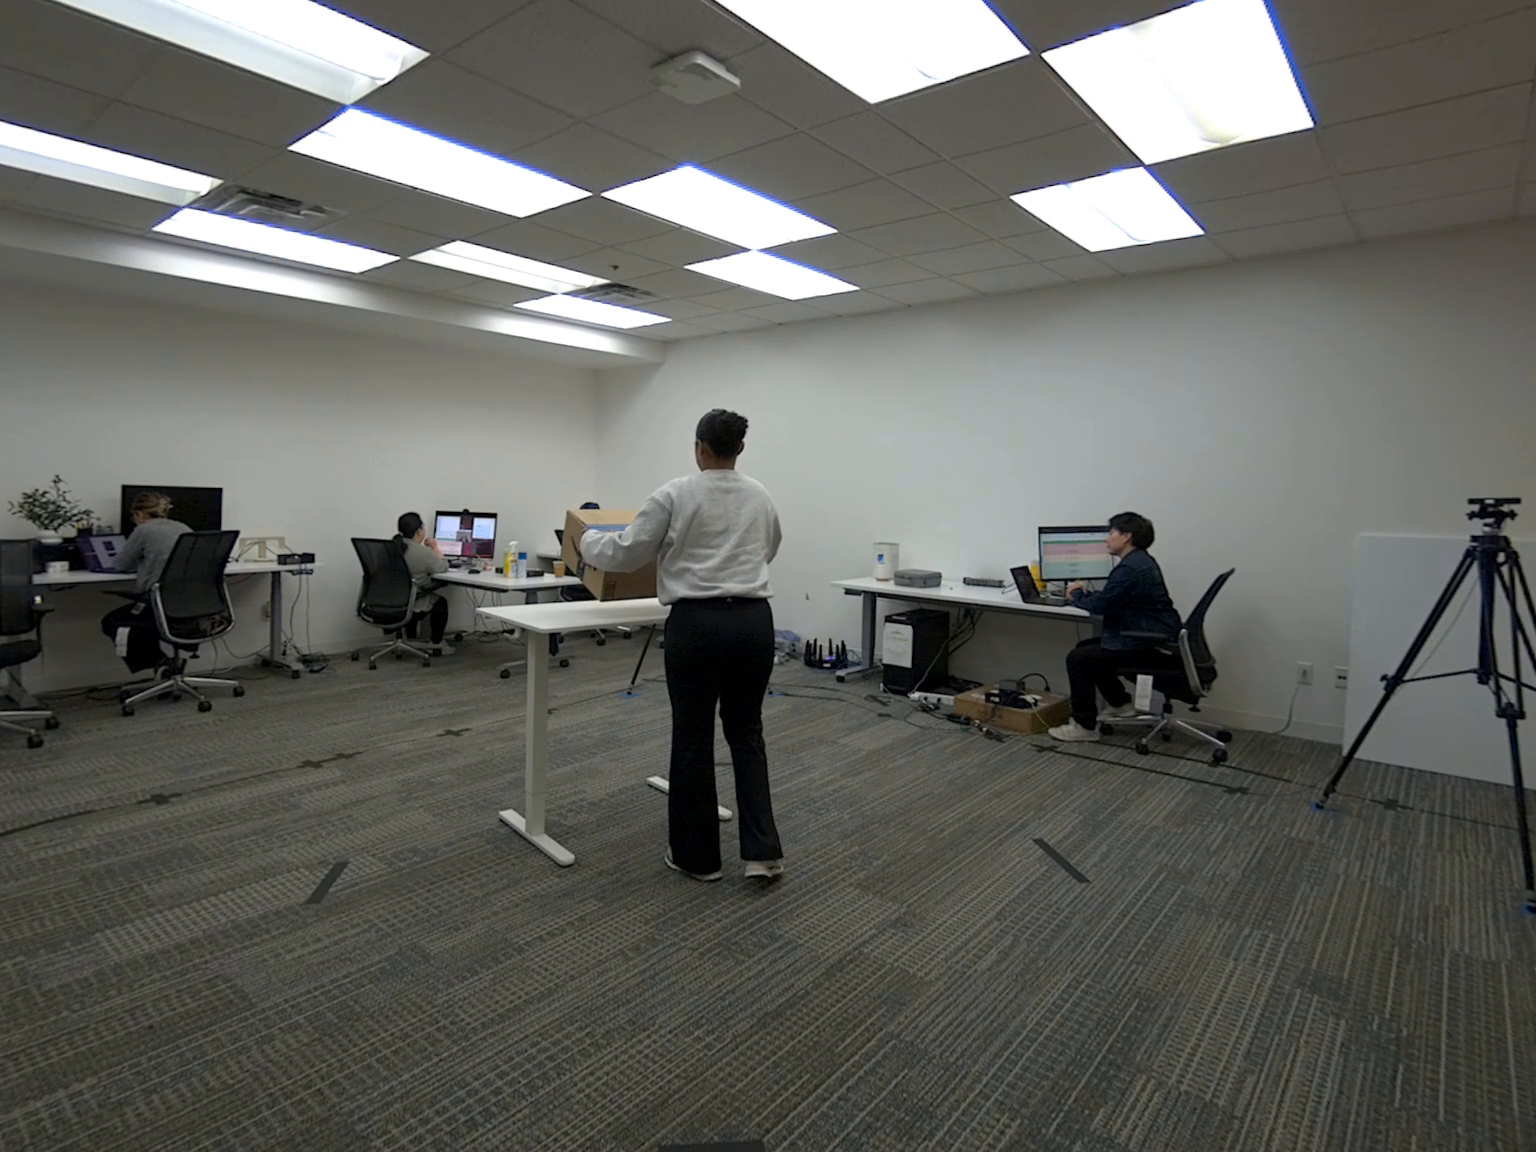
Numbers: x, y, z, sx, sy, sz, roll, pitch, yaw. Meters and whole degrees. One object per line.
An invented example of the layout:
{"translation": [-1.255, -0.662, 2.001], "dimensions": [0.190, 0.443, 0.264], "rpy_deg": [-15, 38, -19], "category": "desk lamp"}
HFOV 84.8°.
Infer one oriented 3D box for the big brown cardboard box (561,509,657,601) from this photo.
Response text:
{"translation": [-0.492, -0.097, 3.455], "dimensions": [0.573, 0.230, 0.435], "rpy_deg": [-5, 26, -35], "category": "big brown cardboard box"}
